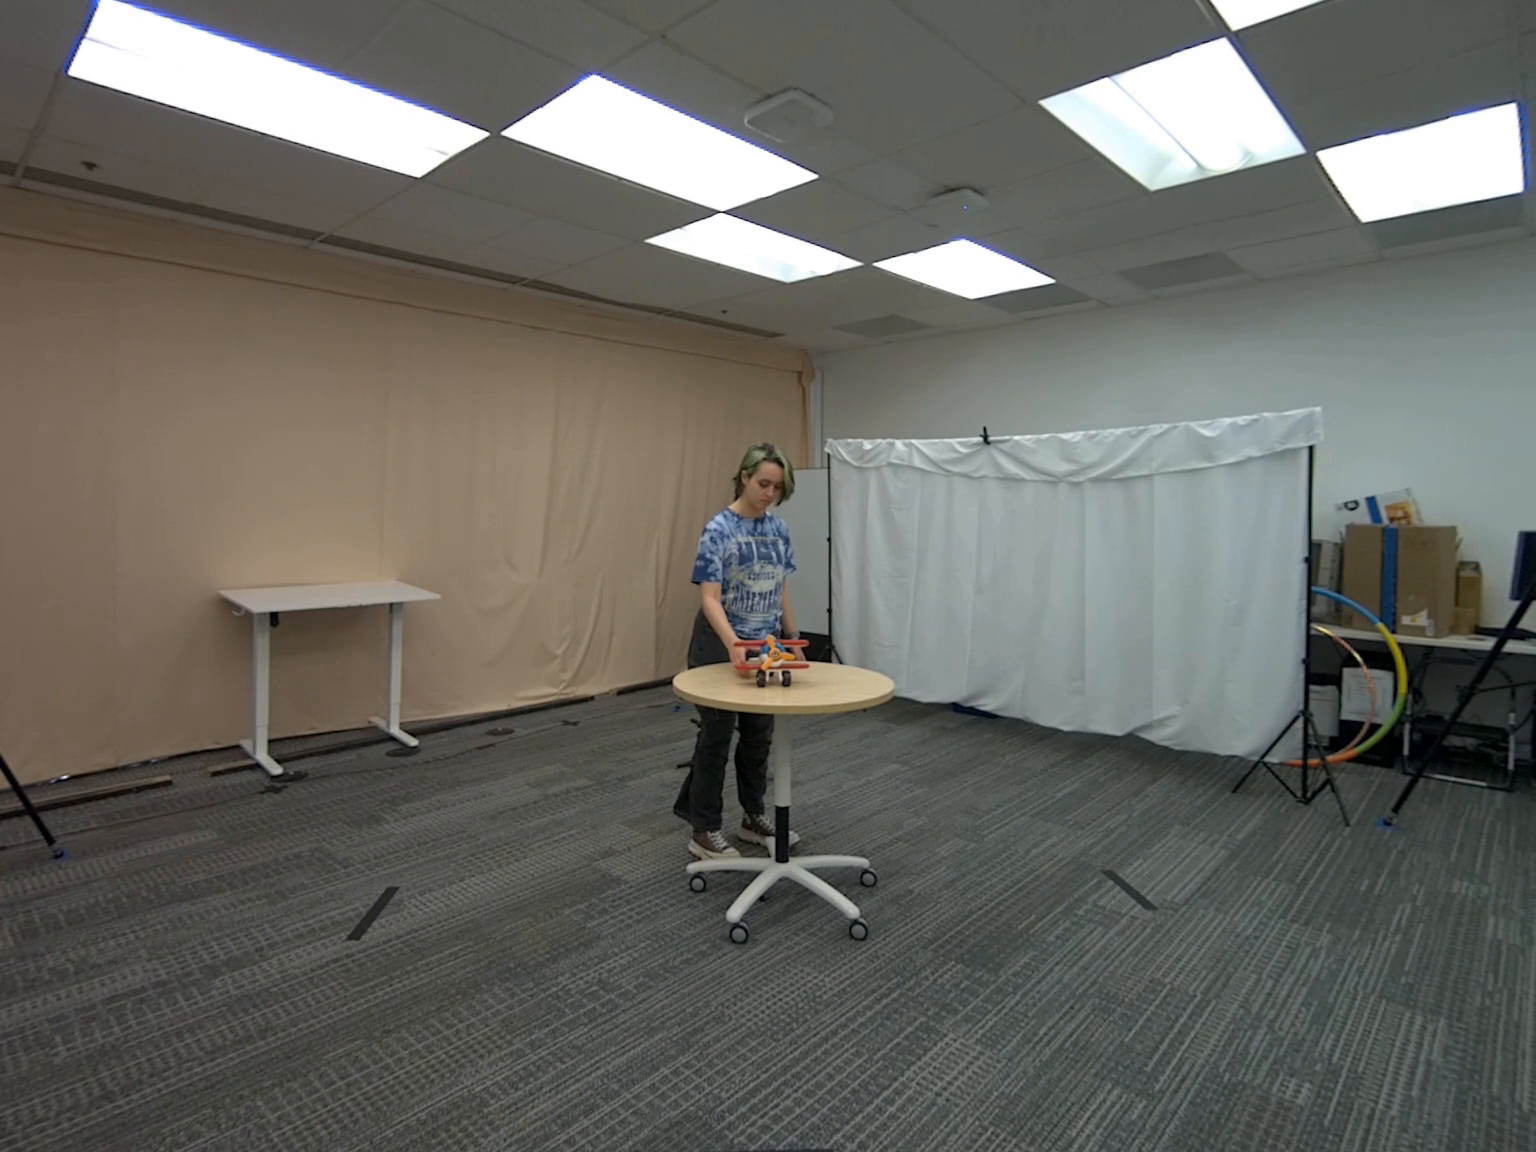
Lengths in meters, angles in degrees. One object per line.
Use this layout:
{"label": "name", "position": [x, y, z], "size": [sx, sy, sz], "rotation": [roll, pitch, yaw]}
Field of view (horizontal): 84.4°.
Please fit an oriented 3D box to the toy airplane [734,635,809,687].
{"label": "toy airplane", "position": [-0.006, 0.287, 2.913], "size": [0.244, 0.156, 0.267], "rotation": [-3, 6, -34]}
